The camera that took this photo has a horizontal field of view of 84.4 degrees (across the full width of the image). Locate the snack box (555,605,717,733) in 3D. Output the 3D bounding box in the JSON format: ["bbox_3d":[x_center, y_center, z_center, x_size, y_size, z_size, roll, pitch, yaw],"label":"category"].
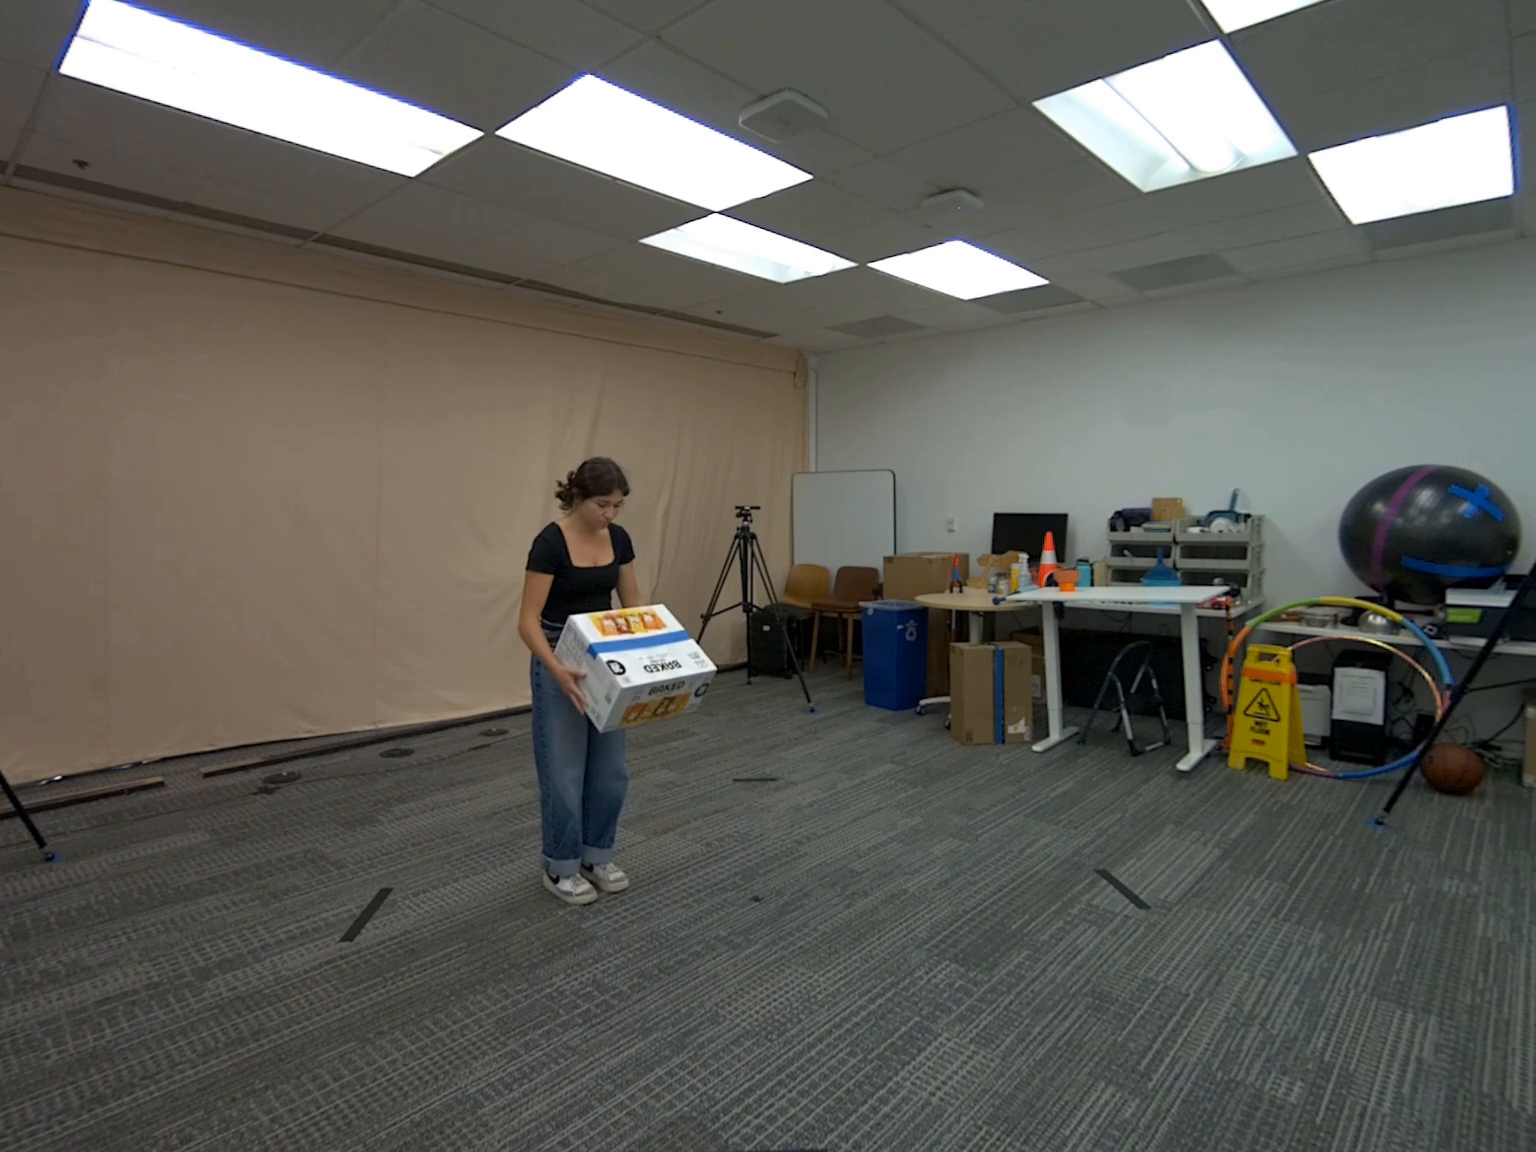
[{"bbox_3d":[-0.448,0.305,2.811,0.393,0.205,0.352,-4,40,-46],"label":"snack box"}]
